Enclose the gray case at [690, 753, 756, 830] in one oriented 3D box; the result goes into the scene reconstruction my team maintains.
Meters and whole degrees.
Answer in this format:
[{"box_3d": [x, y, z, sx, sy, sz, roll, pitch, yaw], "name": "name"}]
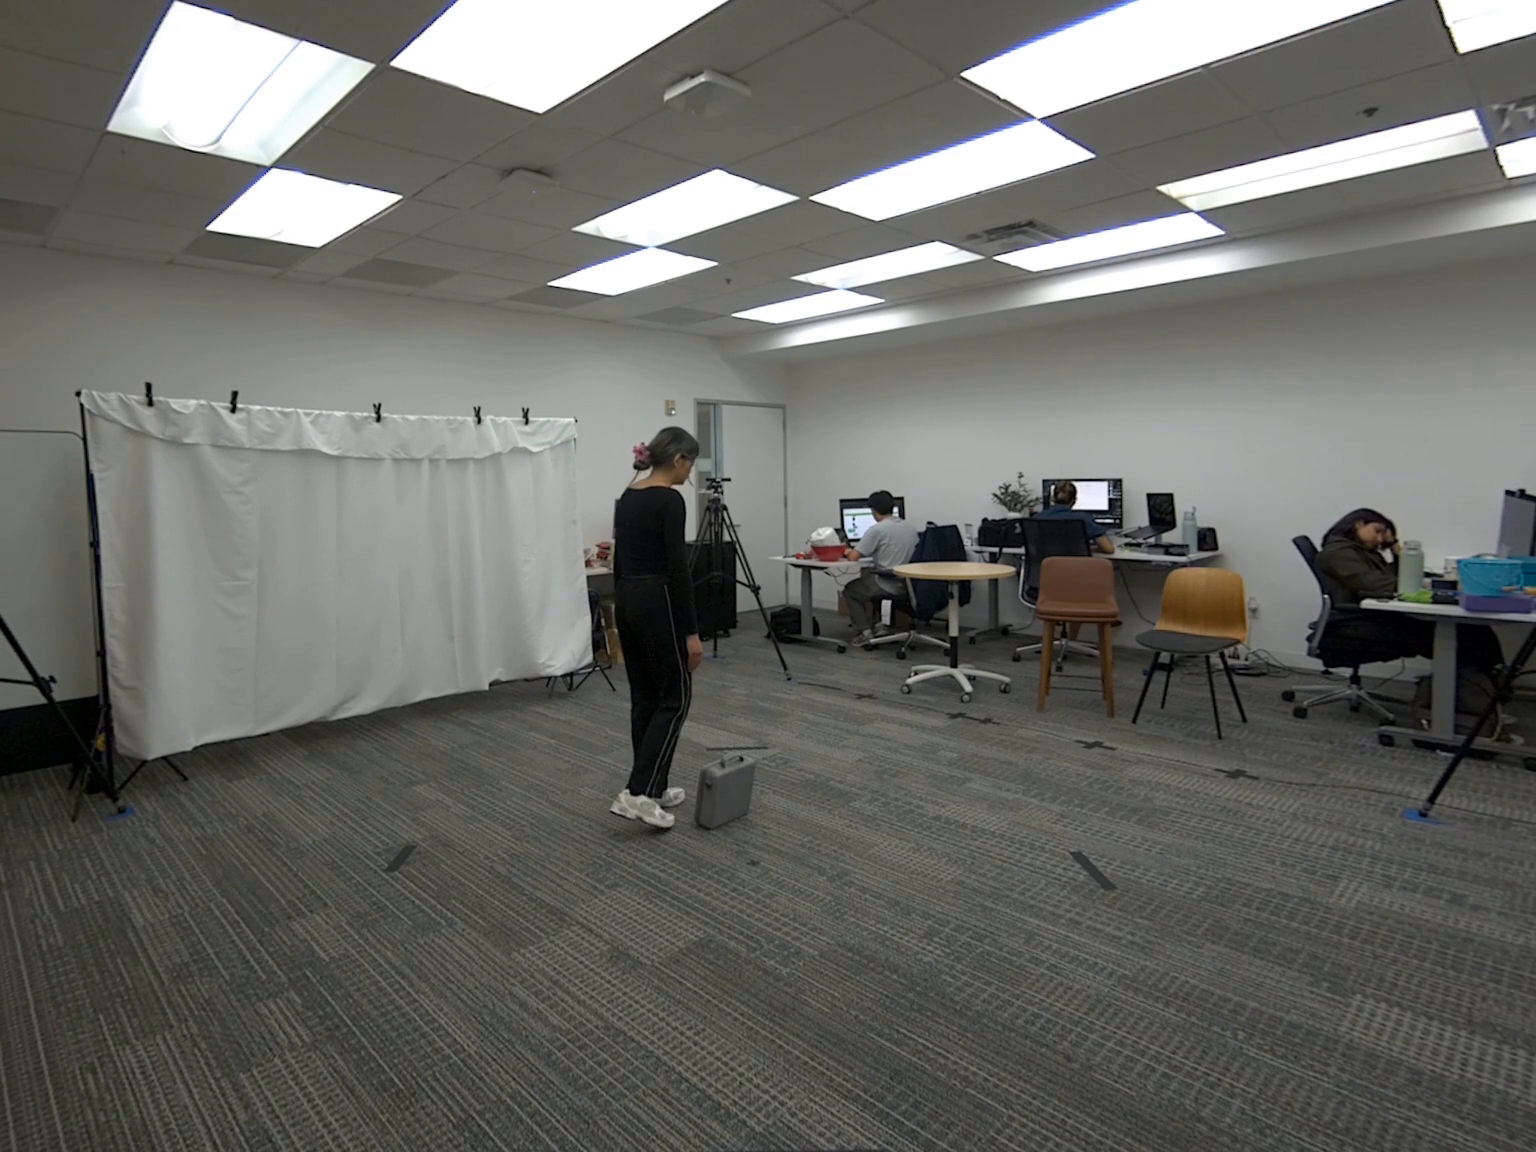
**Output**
[{"box_3d": [-0.168, 0.867, 3.481, 0.108, 0.258, 0.250, 17, 15, 40], "name": "gray case"}]
